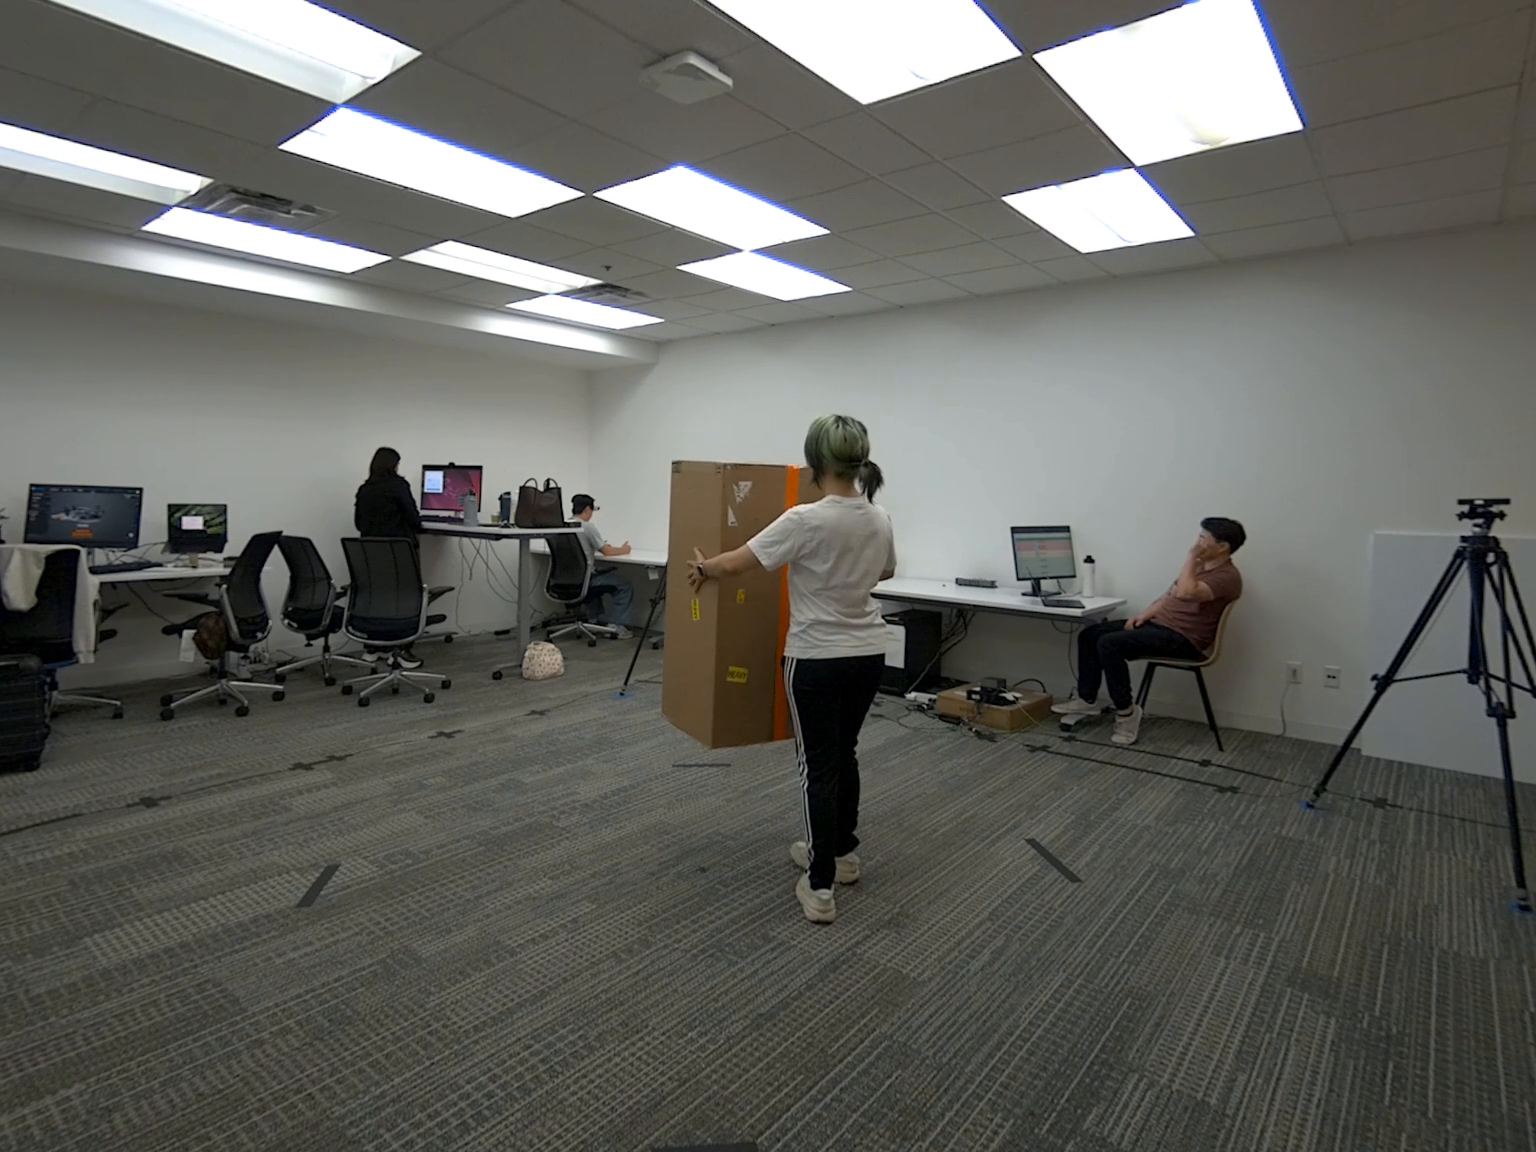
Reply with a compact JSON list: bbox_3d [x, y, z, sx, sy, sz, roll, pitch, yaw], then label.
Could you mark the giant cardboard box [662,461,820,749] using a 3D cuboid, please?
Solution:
[{"bbox_3d":[-0.056,0.077,3.295,0.562,1.021,0.440,-1,6,-30],"label":"giant cardboard box"}]
